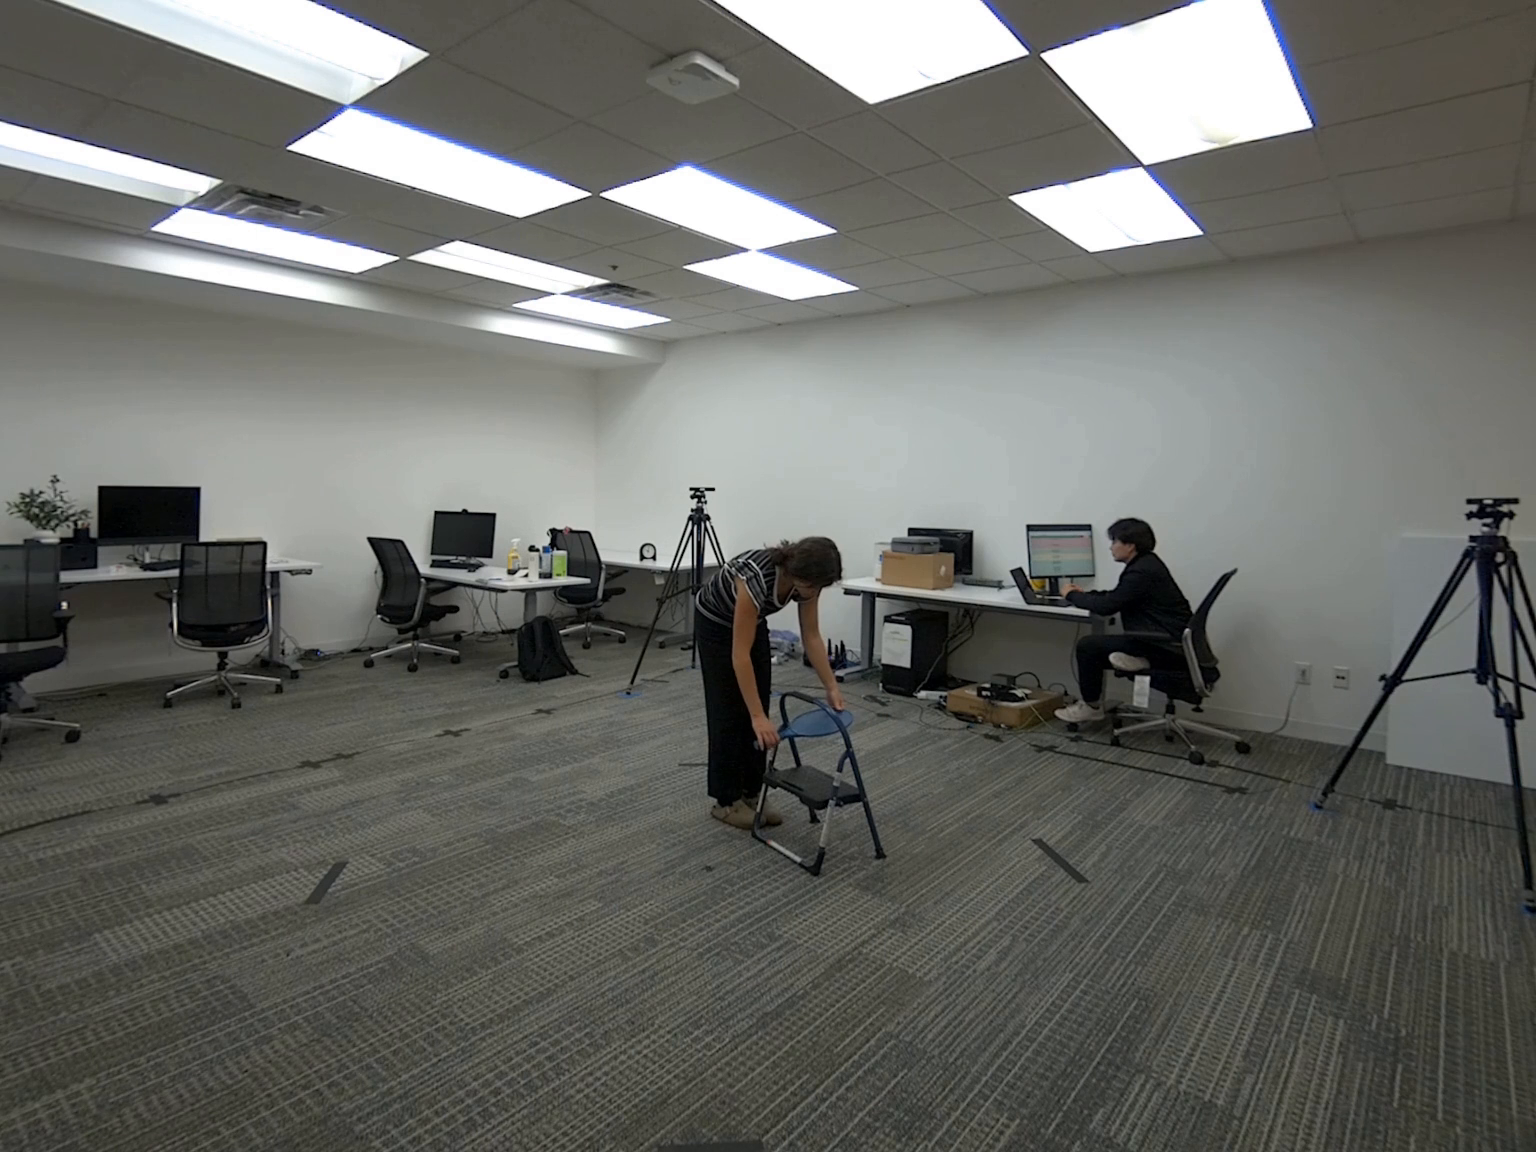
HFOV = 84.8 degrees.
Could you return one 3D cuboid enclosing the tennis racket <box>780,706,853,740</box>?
[{"bbox_3d":[0.124,0.599,3.337,0.425,0.031,0.221,-13,17,-22],"label":"tennis racket"}]
